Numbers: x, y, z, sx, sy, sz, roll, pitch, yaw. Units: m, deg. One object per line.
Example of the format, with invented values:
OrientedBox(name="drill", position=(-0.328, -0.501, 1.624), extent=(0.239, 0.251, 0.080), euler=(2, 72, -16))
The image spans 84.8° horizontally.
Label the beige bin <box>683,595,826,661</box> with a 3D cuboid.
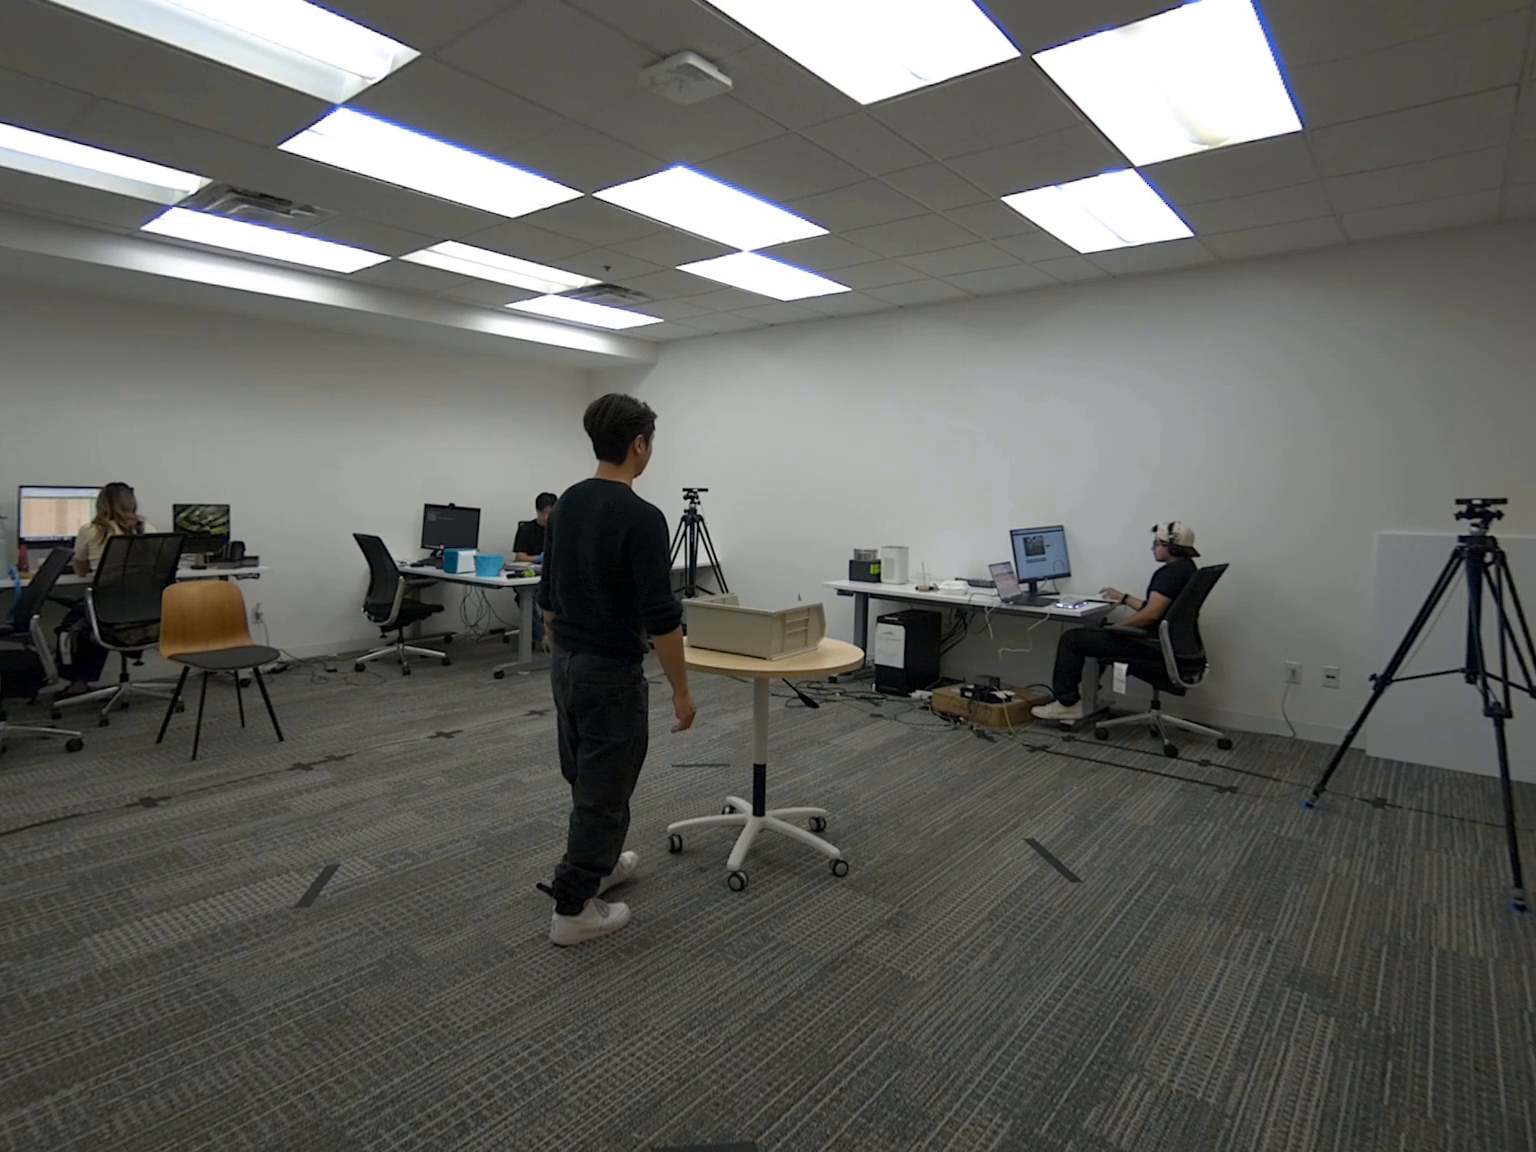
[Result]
OrientedBox(name="beige bin", position=(-0.064, 0.183, 3.266), extent=(0.436, 0.188, 0.367), euler=(5, 8, 35))
